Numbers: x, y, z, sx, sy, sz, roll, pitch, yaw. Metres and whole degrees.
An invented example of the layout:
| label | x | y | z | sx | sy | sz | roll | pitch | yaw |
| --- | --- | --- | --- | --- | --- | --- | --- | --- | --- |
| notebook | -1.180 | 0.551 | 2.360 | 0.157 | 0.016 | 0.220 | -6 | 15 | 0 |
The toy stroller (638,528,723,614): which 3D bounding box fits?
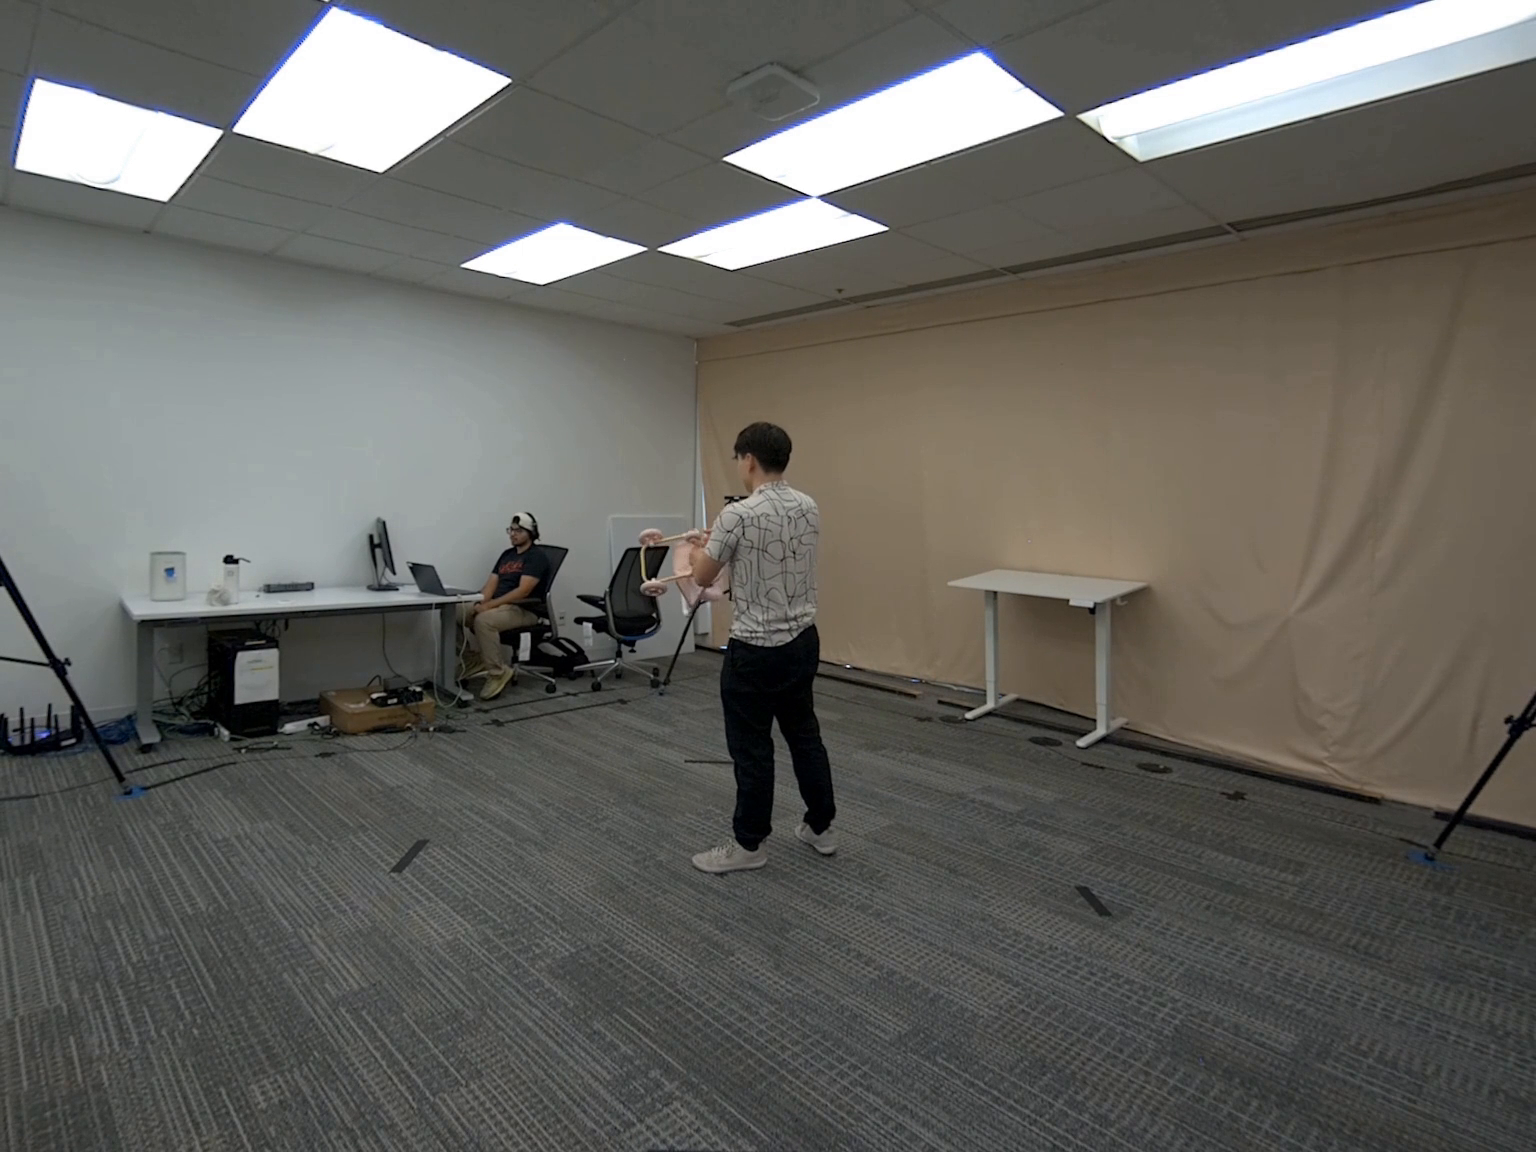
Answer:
| label | x | y | z | sx | sy | sz | roll | pitch | yaw |
| --- | --- | --- | --- | --- | --- | --- | --- | --- | --- |
| toy stroller | -0.339 | -0.031 | 3.665 | 0.344 | 0.288 | 0.519 | -21 | -31 | 15 |
